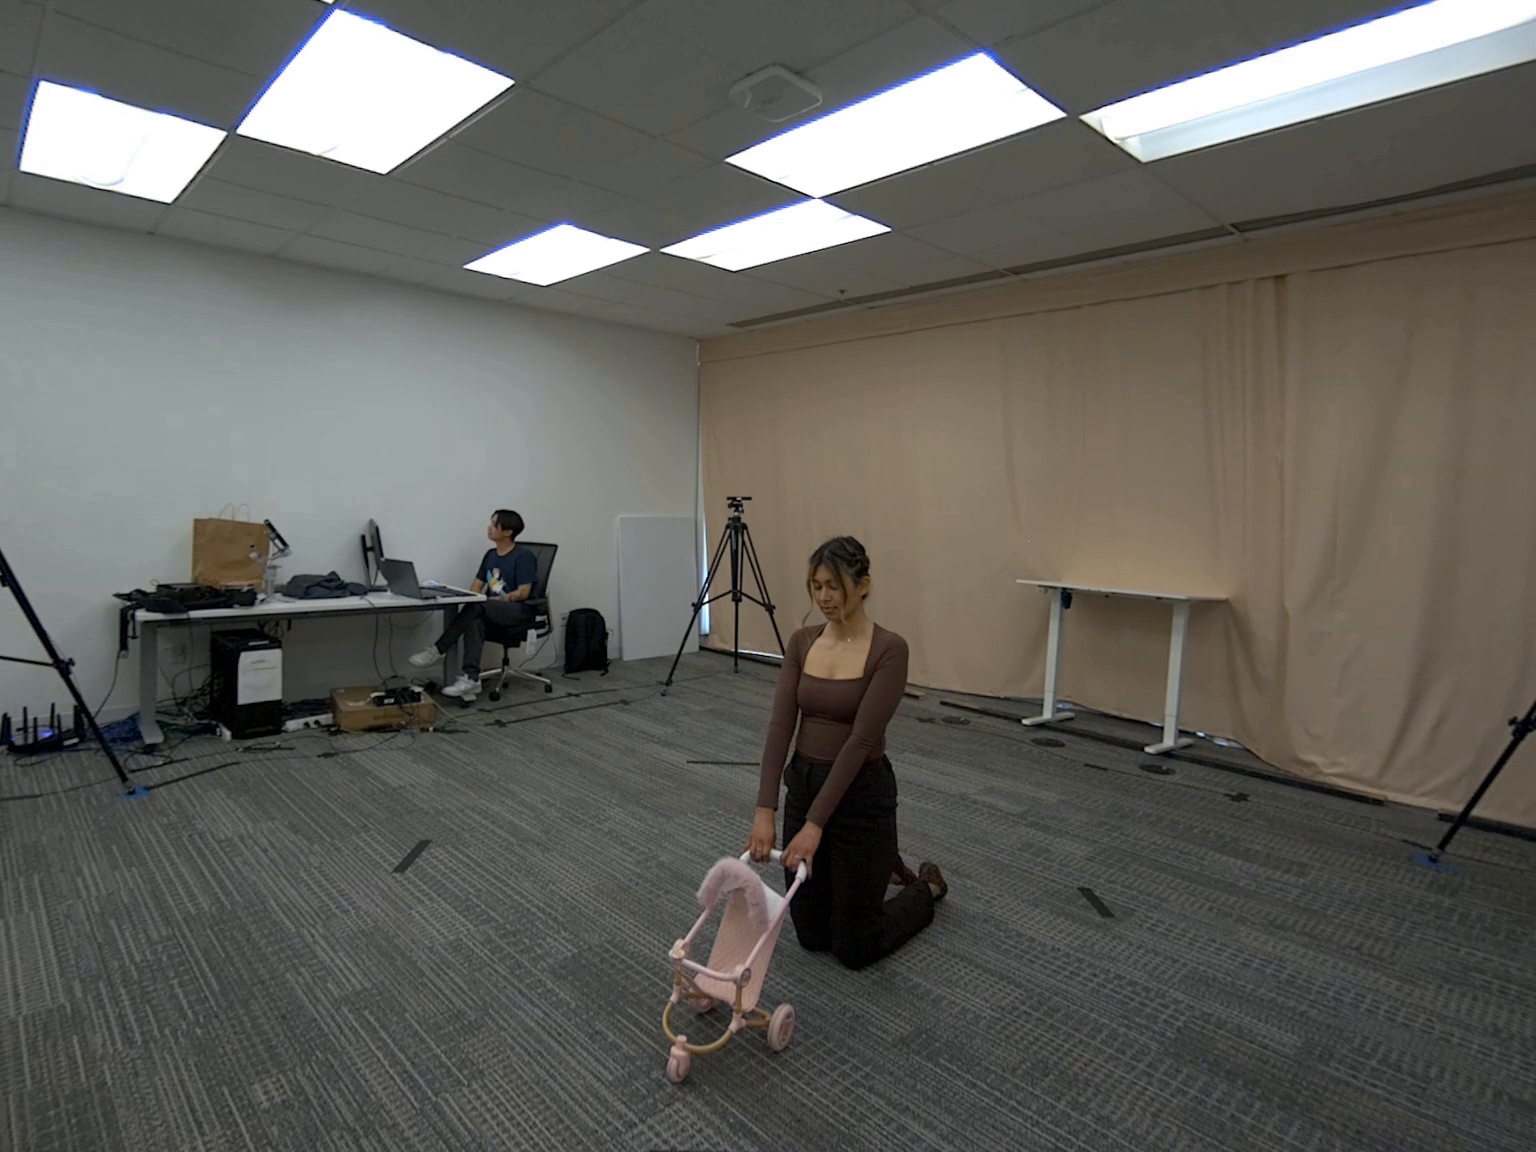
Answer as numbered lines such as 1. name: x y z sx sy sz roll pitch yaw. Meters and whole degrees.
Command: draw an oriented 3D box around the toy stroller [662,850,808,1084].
1. toy stroller: -0.105 0.973 2.149 0.288 0.538 0.331 4 -13 40
